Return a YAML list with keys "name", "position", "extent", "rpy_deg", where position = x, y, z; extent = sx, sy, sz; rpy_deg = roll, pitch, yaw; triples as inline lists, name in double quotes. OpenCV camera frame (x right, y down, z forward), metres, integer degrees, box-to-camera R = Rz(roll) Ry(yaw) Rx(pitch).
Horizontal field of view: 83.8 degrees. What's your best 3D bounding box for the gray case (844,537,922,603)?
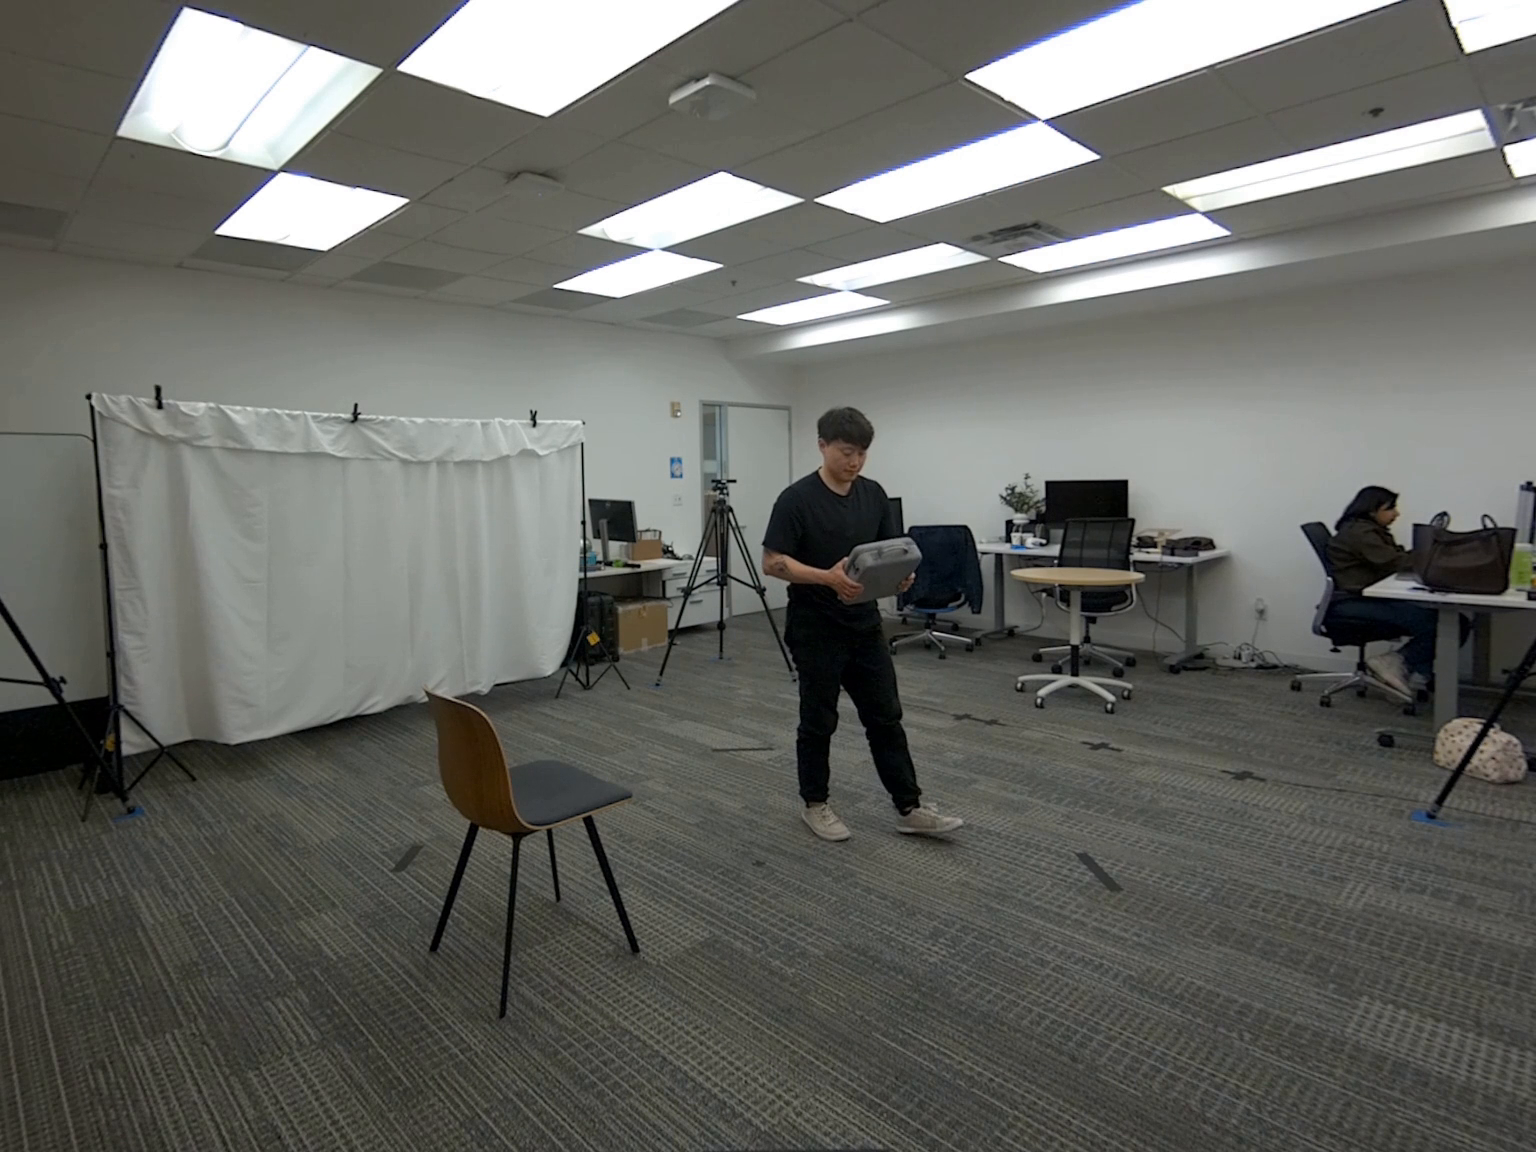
- name: "gray case"
  position: [0.397, -0.022, 3.065]
  extent: [0.252, 0.107, 0.257]
  rpy_deg: [-10, -30, -26]
